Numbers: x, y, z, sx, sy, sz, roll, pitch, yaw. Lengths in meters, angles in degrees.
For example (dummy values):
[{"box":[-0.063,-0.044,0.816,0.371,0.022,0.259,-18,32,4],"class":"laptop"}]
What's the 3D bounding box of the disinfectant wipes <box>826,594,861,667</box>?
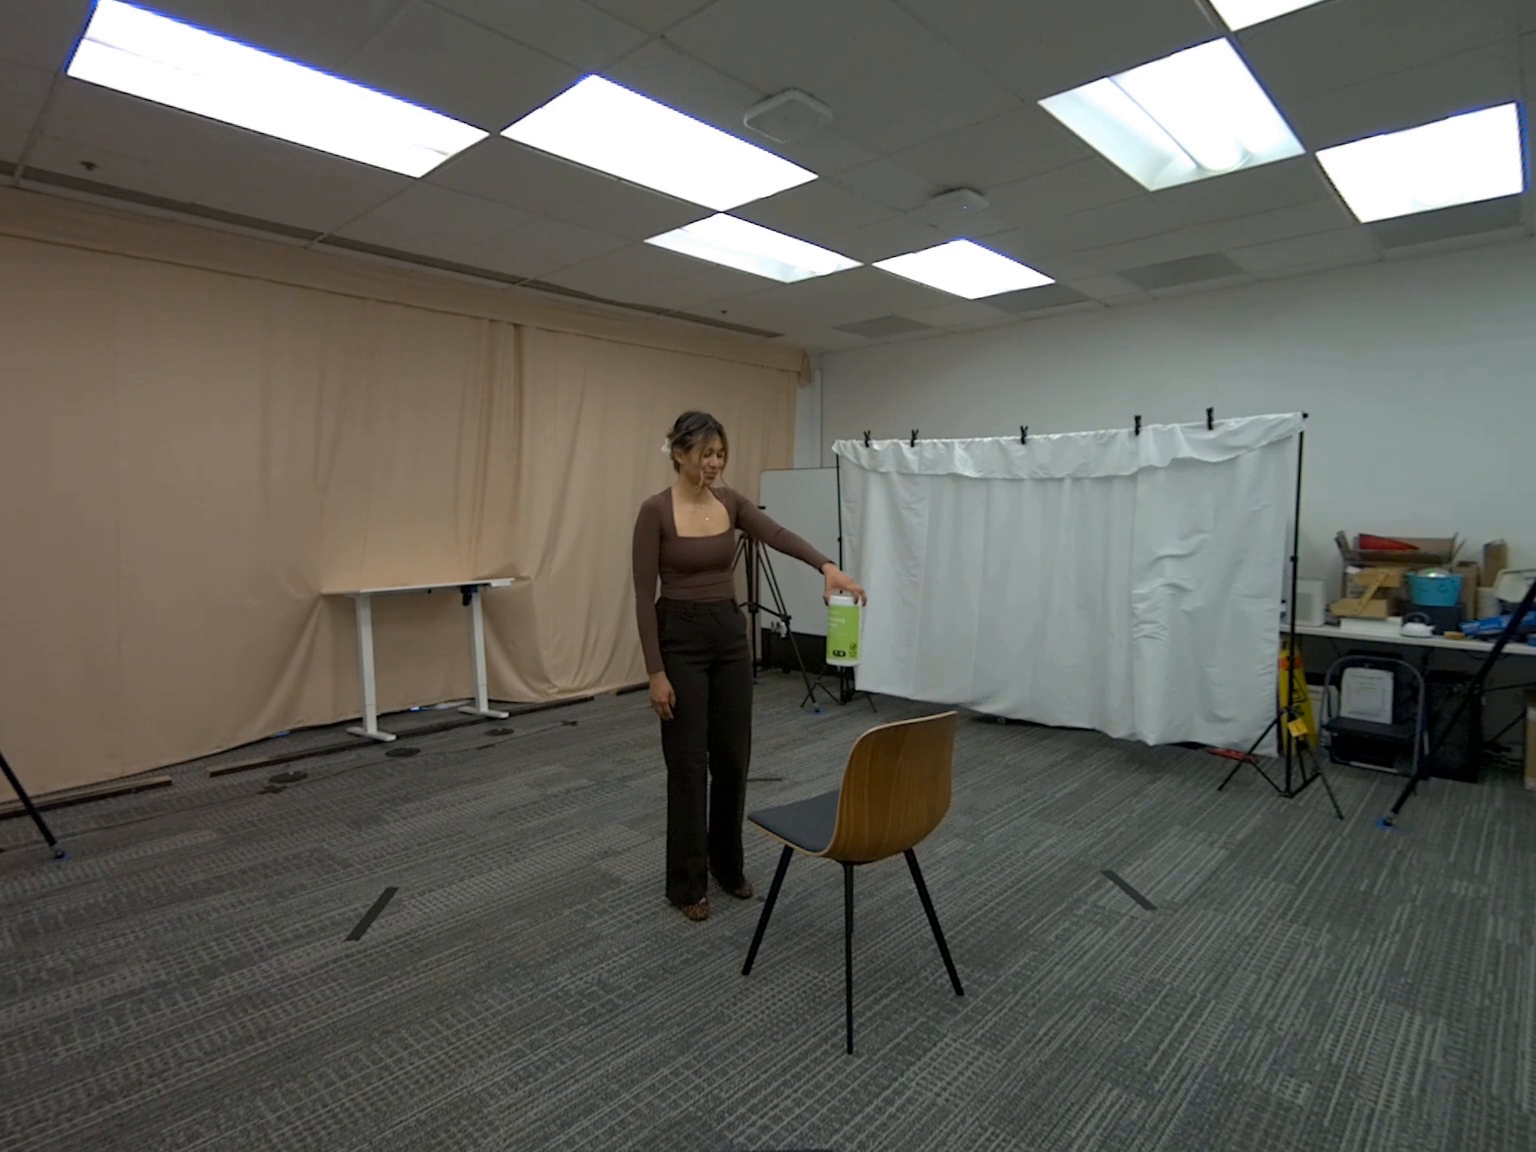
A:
[{"box":[0.245,0.172,2.620,0.118,0.217,0.118,0,1,-2],"class":"disinfectant wipes"}]
